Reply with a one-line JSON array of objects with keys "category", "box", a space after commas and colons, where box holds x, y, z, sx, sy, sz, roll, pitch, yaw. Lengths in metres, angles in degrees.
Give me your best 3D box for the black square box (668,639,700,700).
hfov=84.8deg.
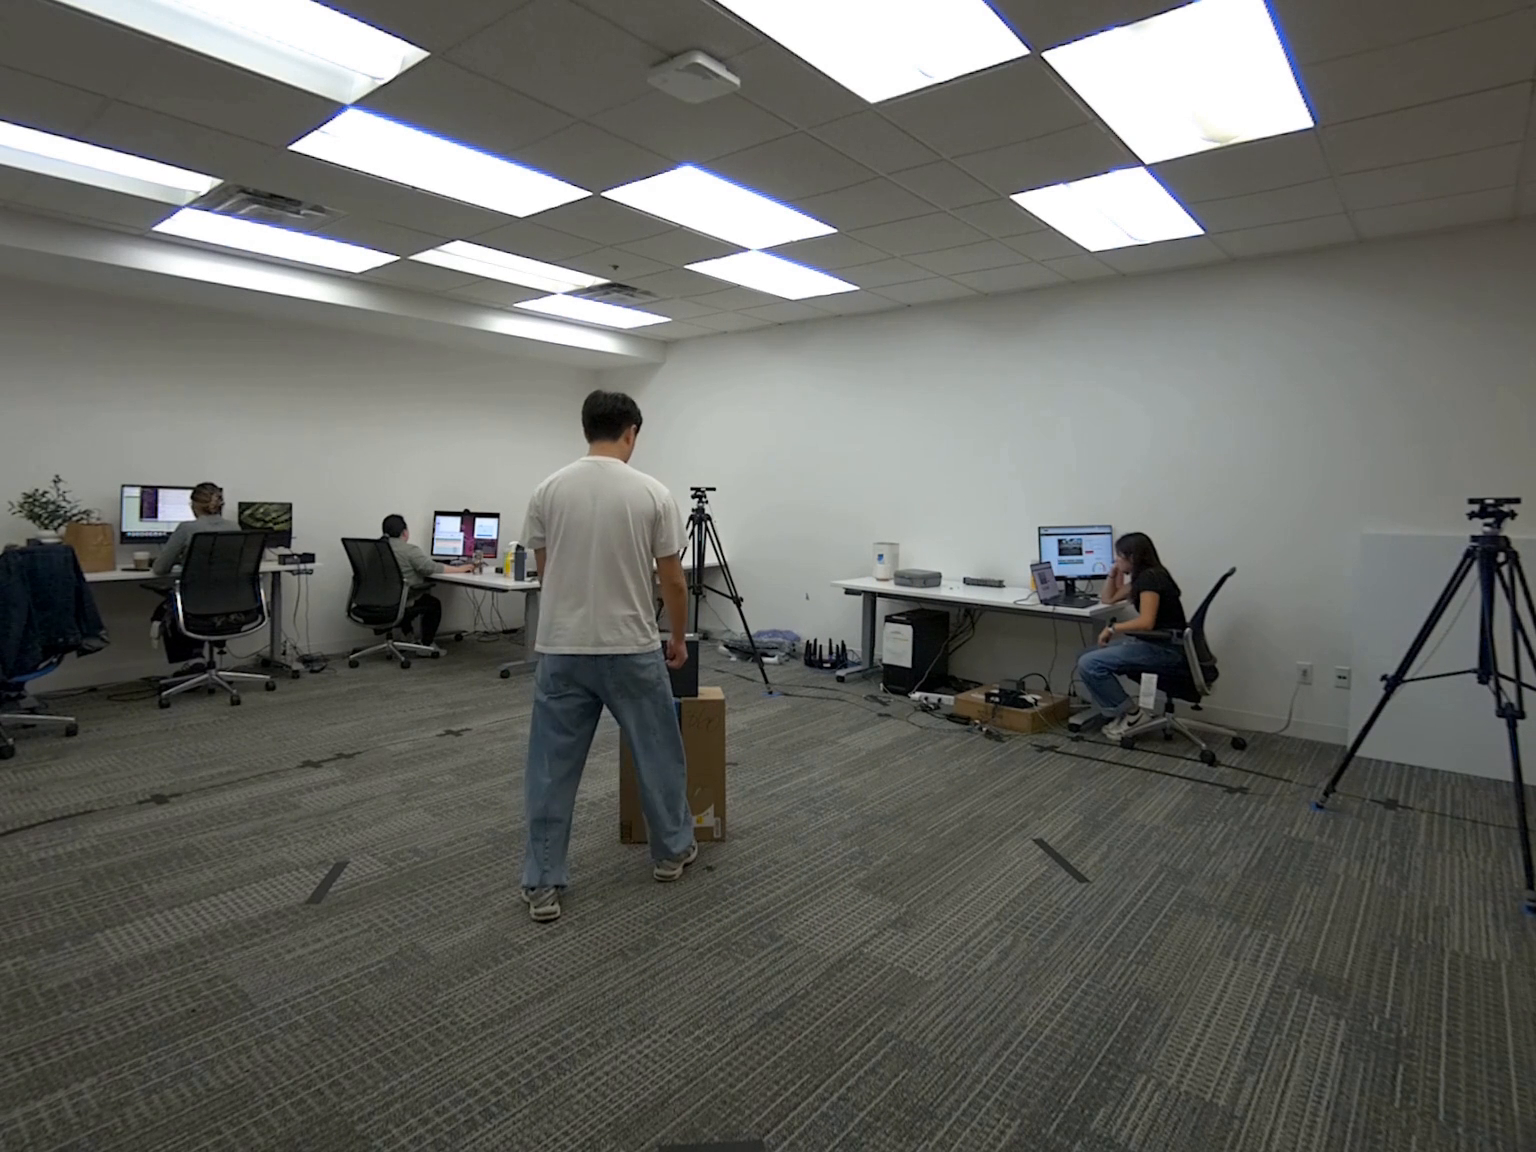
[{"category": "black square box", "box": [-0.398, 0.350, 3.416, 0.217, 0.227, 0.157, 2, 4, -2]}]
